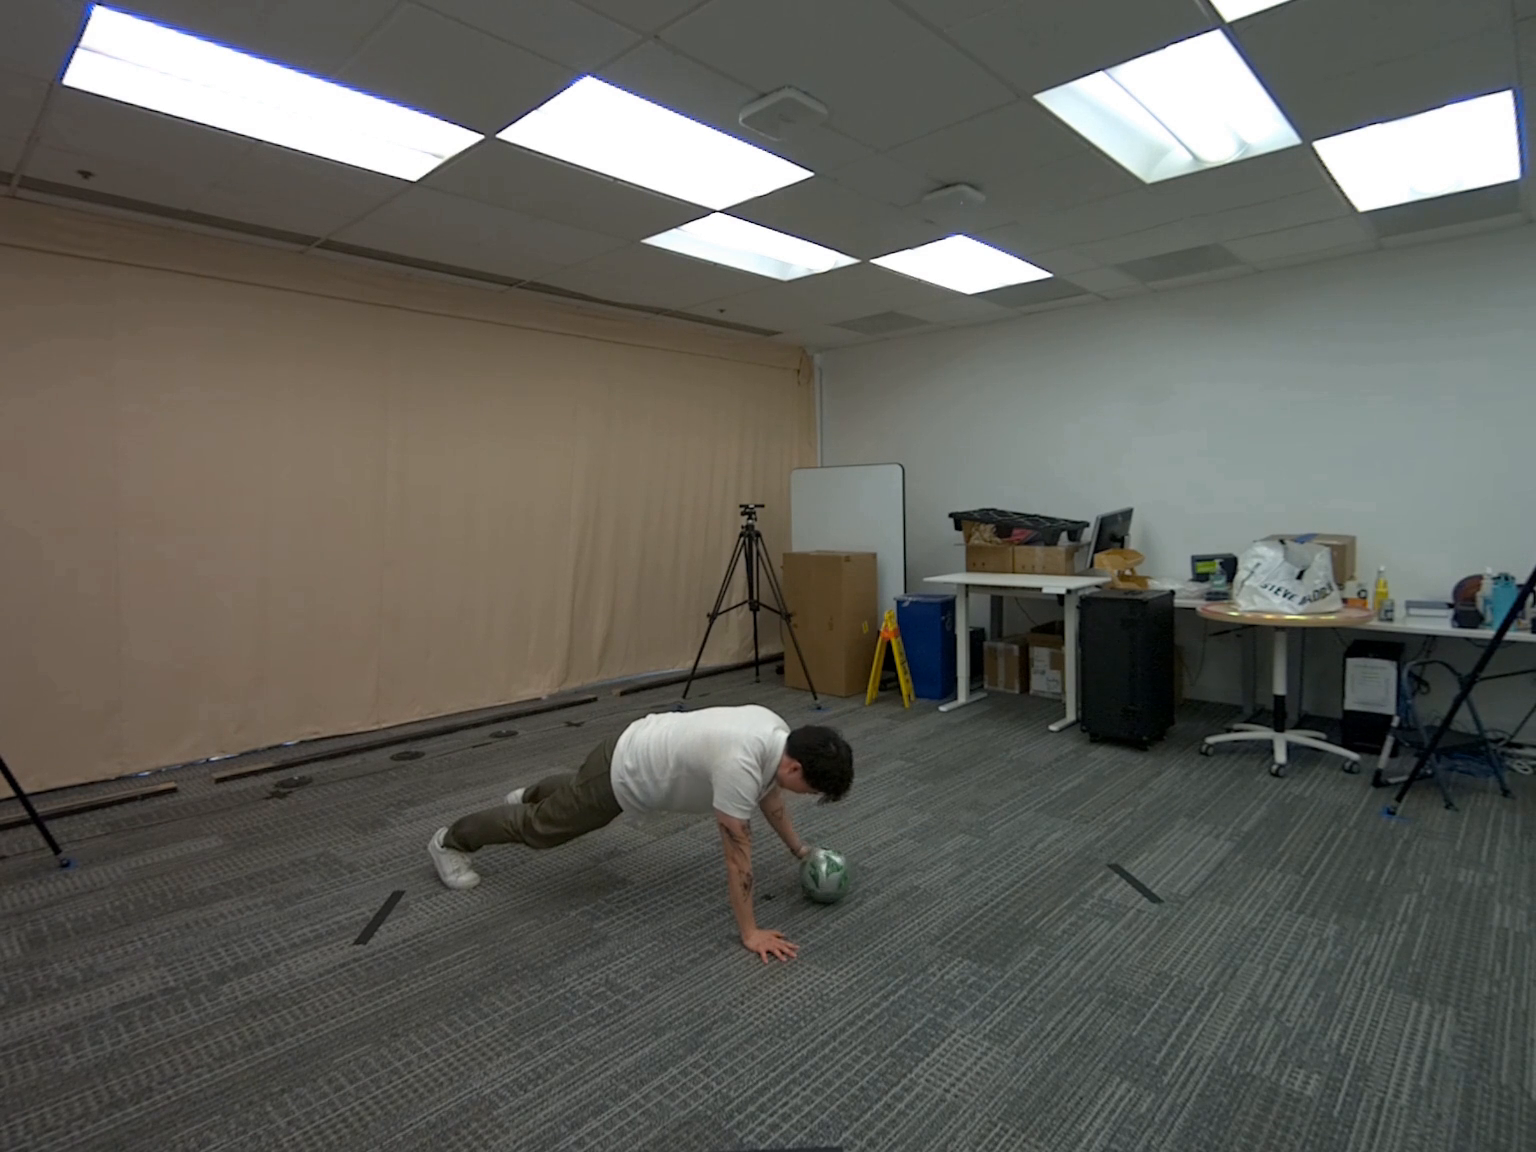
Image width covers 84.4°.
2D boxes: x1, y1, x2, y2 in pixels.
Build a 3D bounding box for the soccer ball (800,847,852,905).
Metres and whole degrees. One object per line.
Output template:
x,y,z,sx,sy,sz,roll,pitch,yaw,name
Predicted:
0.199,1.050,2.946,0.187,0.187,0.188,-1,4,-2,soccer ball
